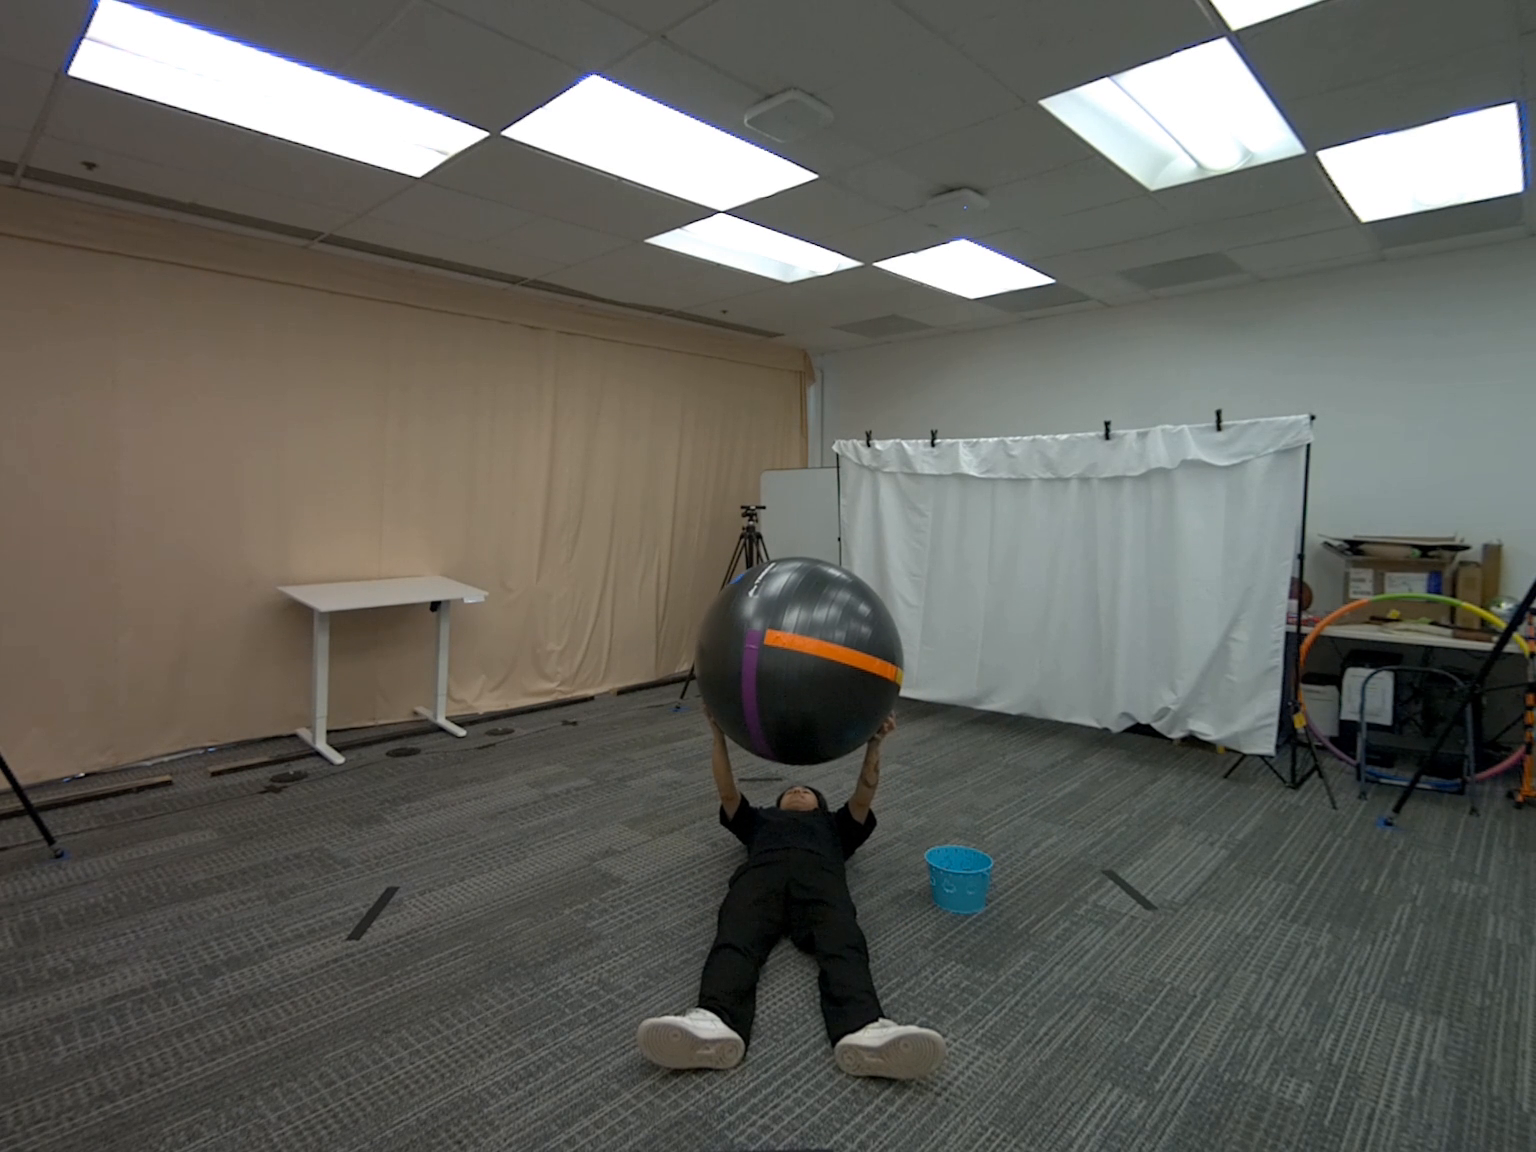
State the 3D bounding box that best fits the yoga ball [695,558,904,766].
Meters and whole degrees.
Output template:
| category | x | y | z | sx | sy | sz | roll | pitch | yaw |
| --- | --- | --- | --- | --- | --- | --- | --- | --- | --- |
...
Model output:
| category | x | y | z | sx | sy | sz | roll | pitch | yaw |
| --- | --- | --- | --- | --- | --- | --- | --- | --- | --- |
| yoga ball | 0.111 | 0.320 | 3.102 | 0.757 | 0.756 | 0.760 | 0 | 4 | -2 |
